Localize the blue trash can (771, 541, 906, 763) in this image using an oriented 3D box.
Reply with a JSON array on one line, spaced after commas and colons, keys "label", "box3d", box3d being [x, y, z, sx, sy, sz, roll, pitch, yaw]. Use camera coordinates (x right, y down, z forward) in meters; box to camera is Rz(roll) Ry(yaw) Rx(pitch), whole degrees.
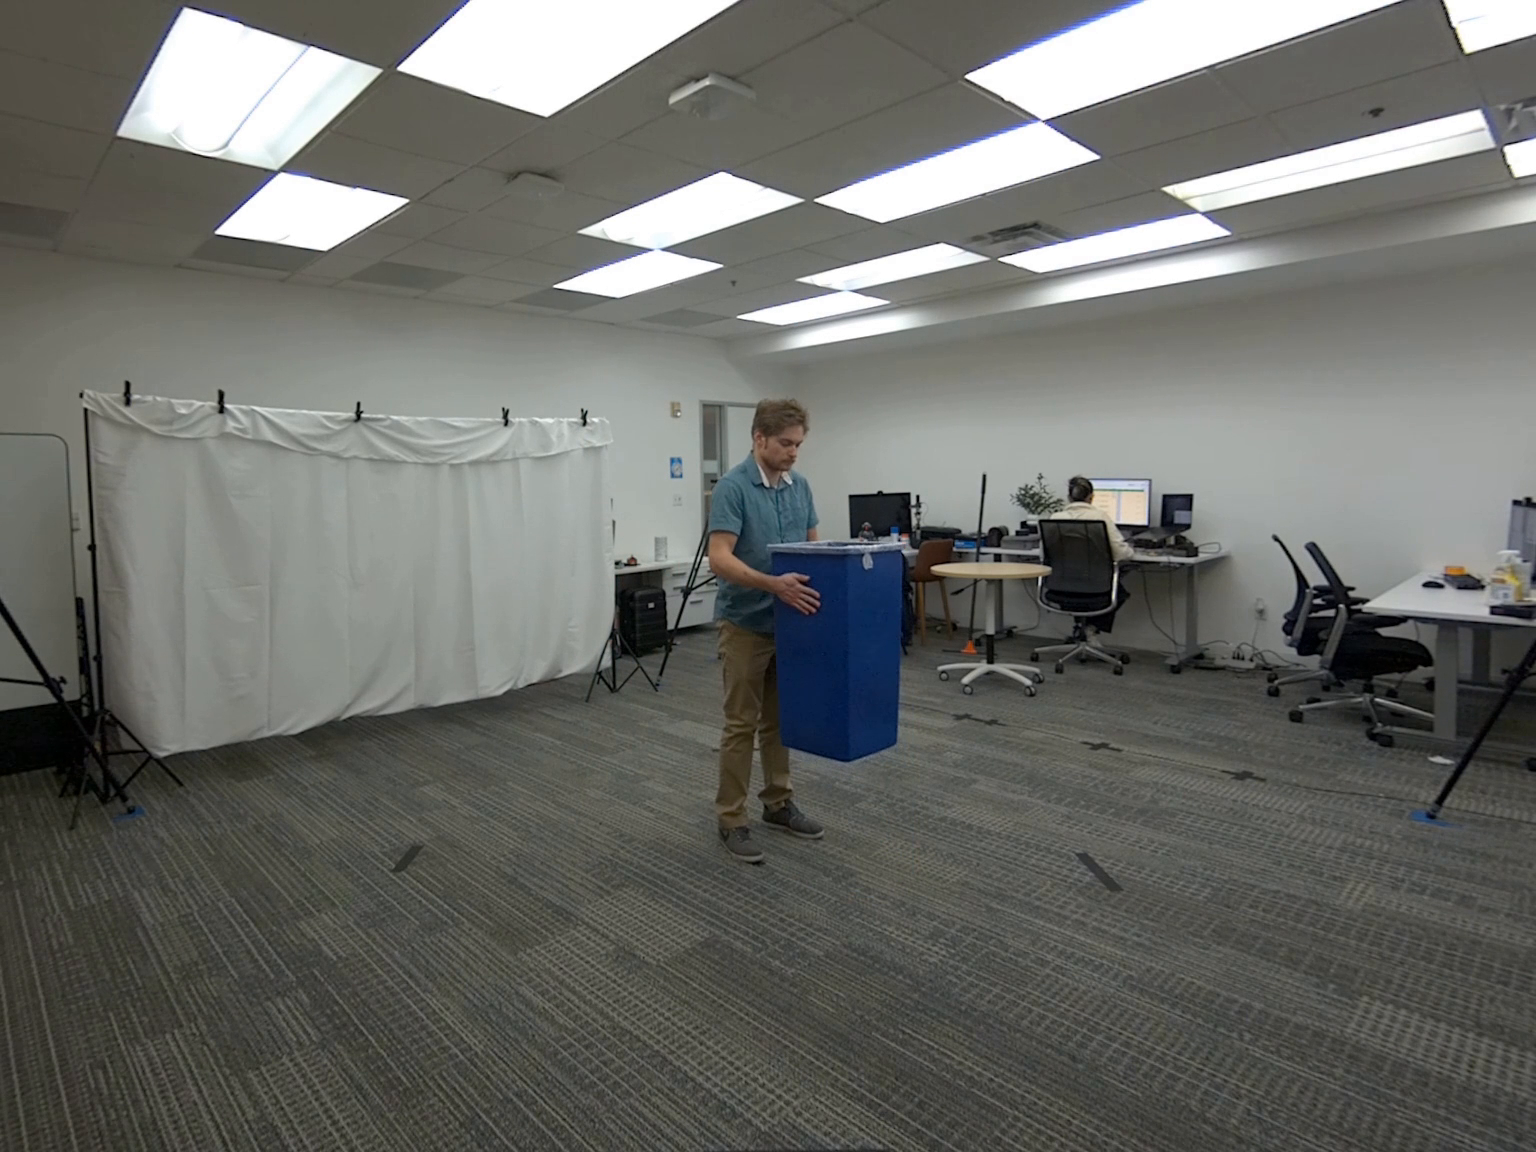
[{"label": "blue trash can", "box3d": [0.255, 0.257, 2.997, 0.389, 0.712, 0.364, 3, 4, 44]}]
